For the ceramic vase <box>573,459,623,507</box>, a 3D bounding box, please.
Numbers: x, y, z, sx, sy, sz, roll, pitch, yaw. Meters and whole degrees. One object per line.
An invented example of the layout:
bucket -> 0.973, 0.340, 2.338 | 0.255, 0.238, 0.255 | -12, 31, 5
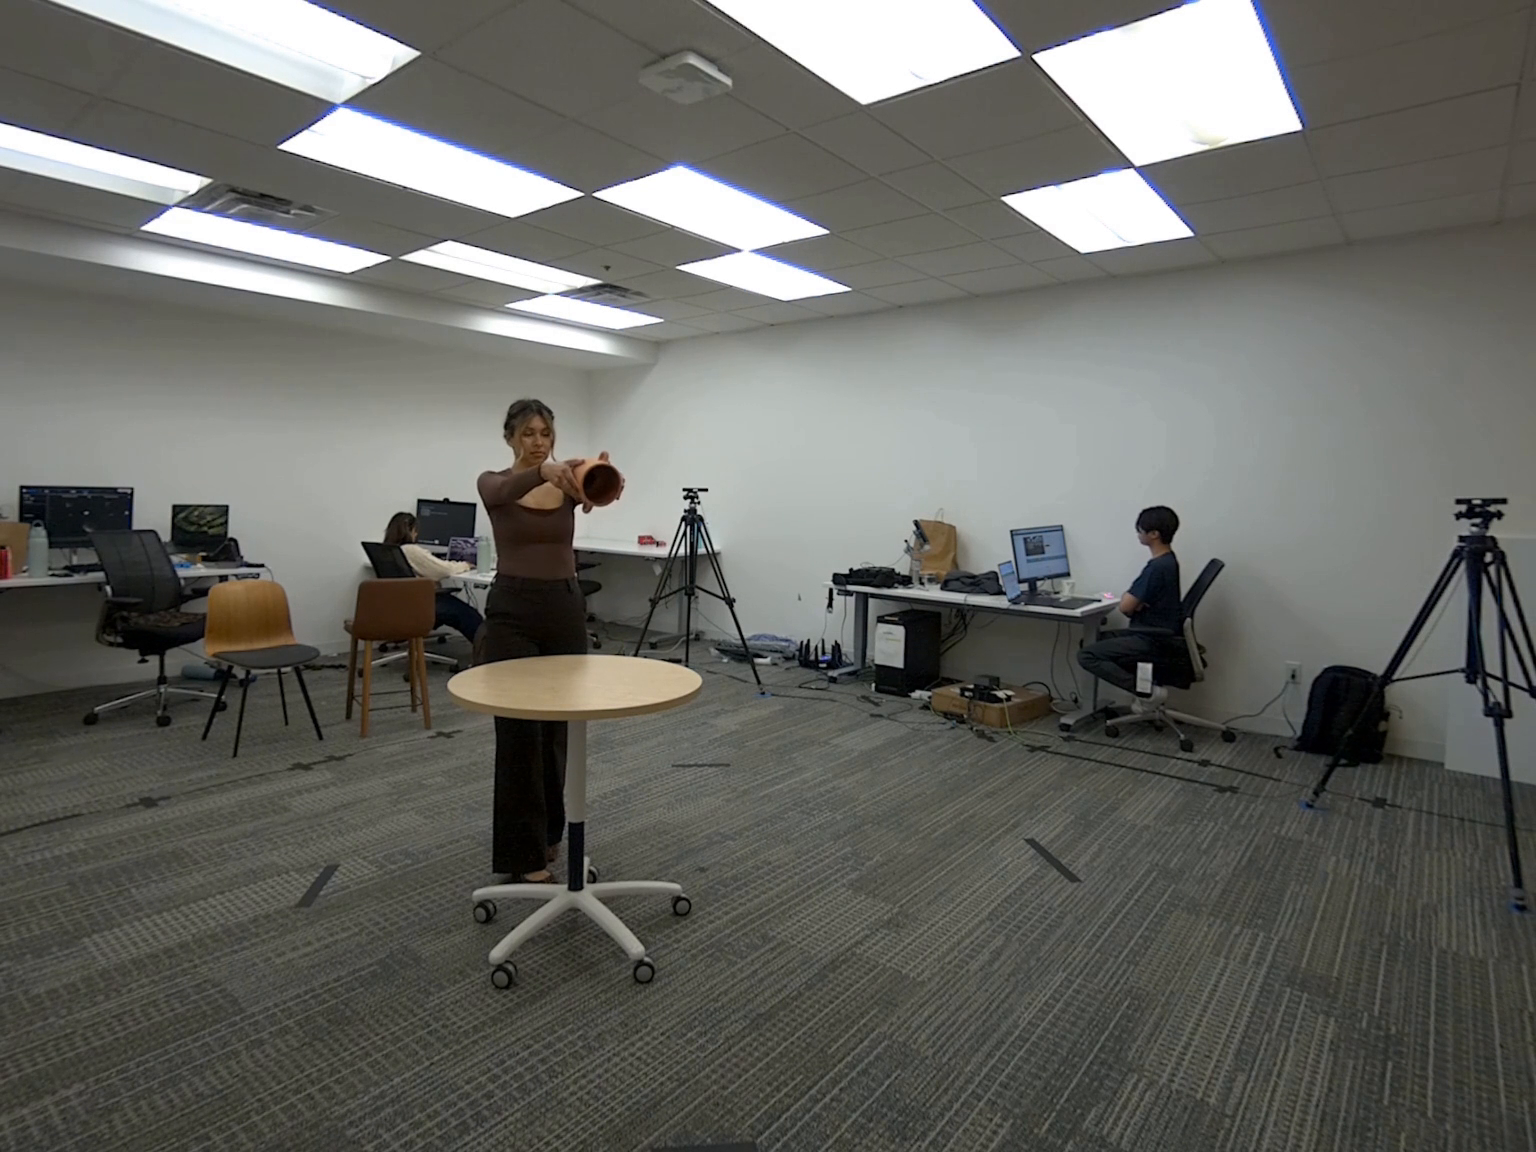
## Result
ceramic vase -> -0.562, -0.298, 2.611 | 0.158, 0.130, 0.228 | -38, 31, -17
